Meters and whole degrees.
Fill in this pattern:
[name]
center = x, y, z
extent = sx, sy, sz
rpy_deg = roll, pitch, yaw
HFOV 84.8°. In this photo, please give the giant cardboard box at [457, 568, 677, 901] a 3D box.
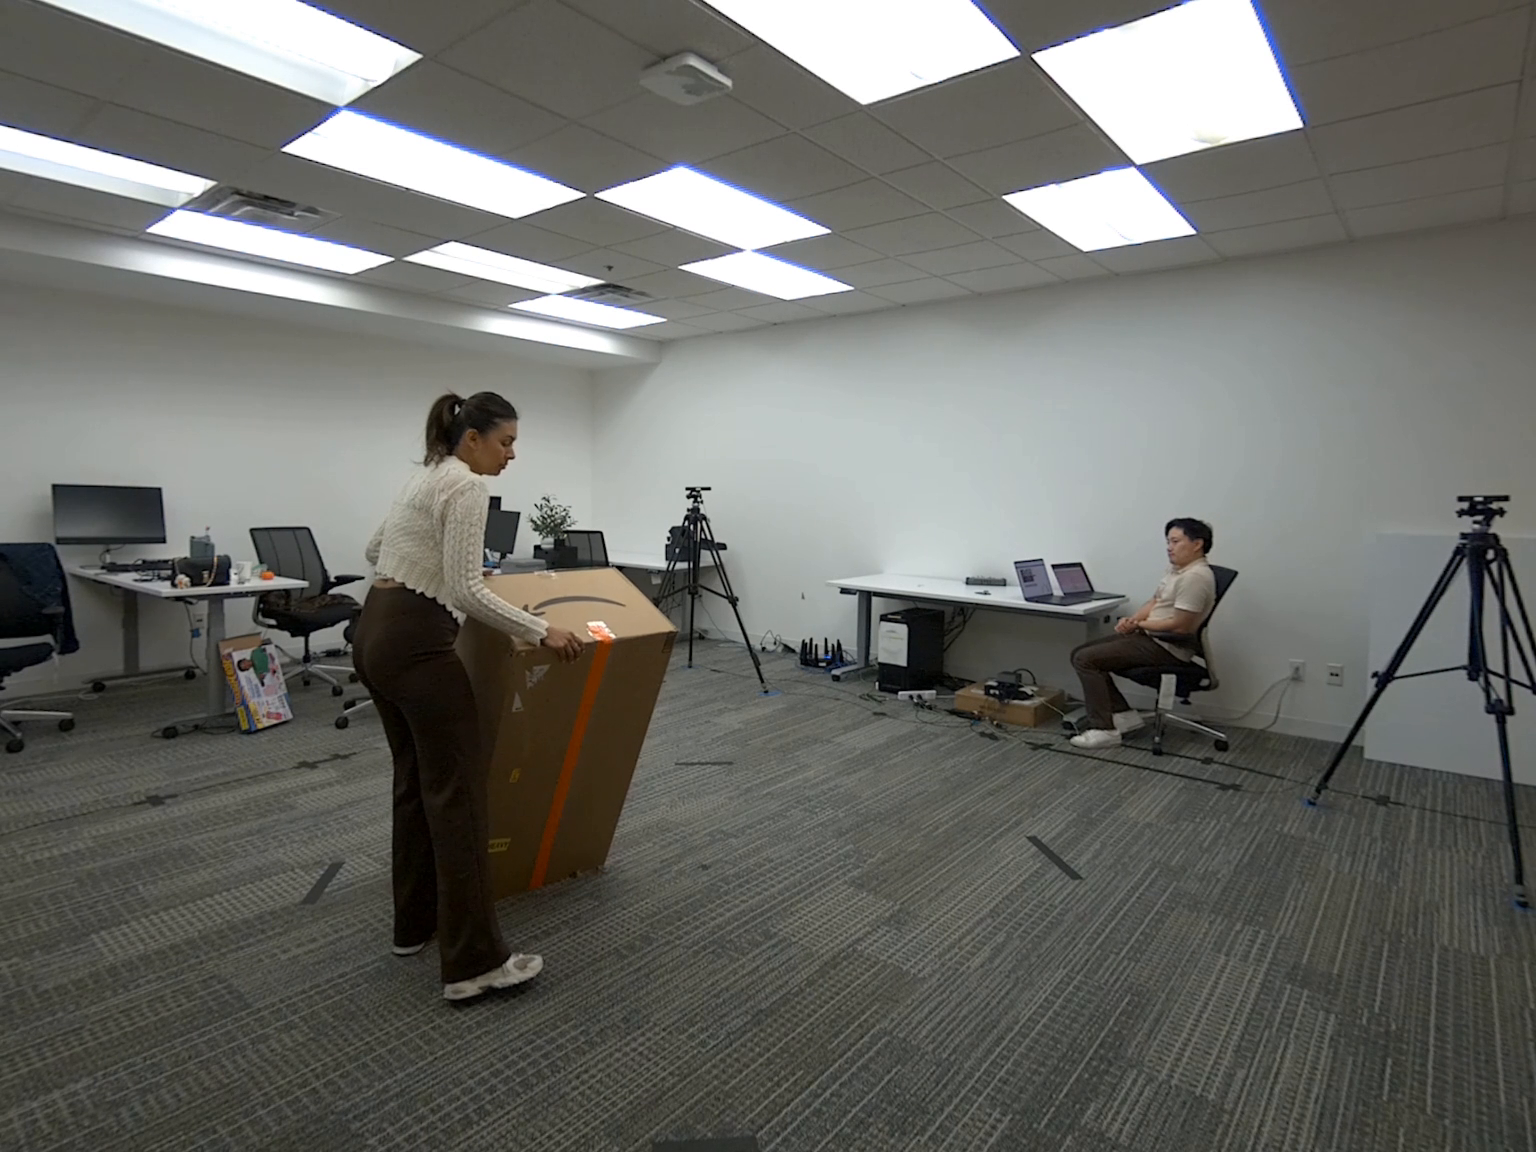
[giant cardboard box]
center = -0.785, 0.531, 2.891
extent = 0.560, 1.013, 0.445
rpy_deg = -2, 30, -42
